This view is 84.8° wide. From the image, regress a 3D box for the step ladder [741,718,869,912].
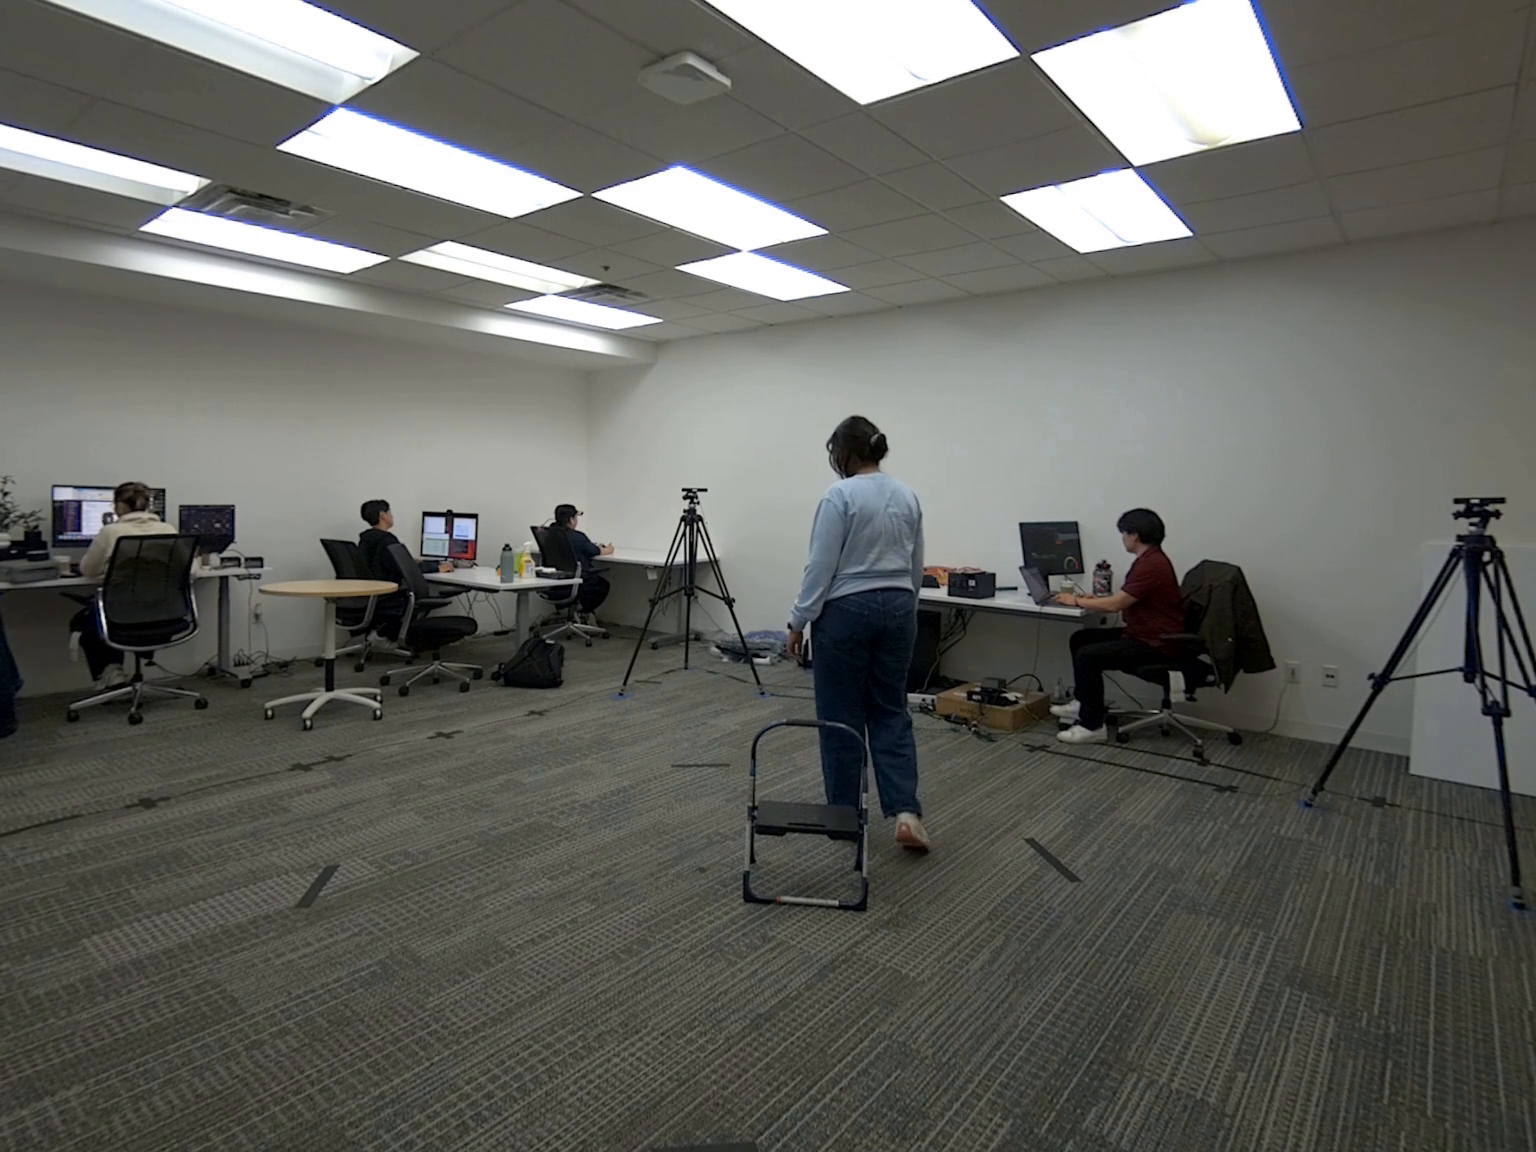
[{"bbox_3d":[0.129,0.786,2.989,0.433,0.604,0.348,1,3,5],"label":"step ladder"}]
